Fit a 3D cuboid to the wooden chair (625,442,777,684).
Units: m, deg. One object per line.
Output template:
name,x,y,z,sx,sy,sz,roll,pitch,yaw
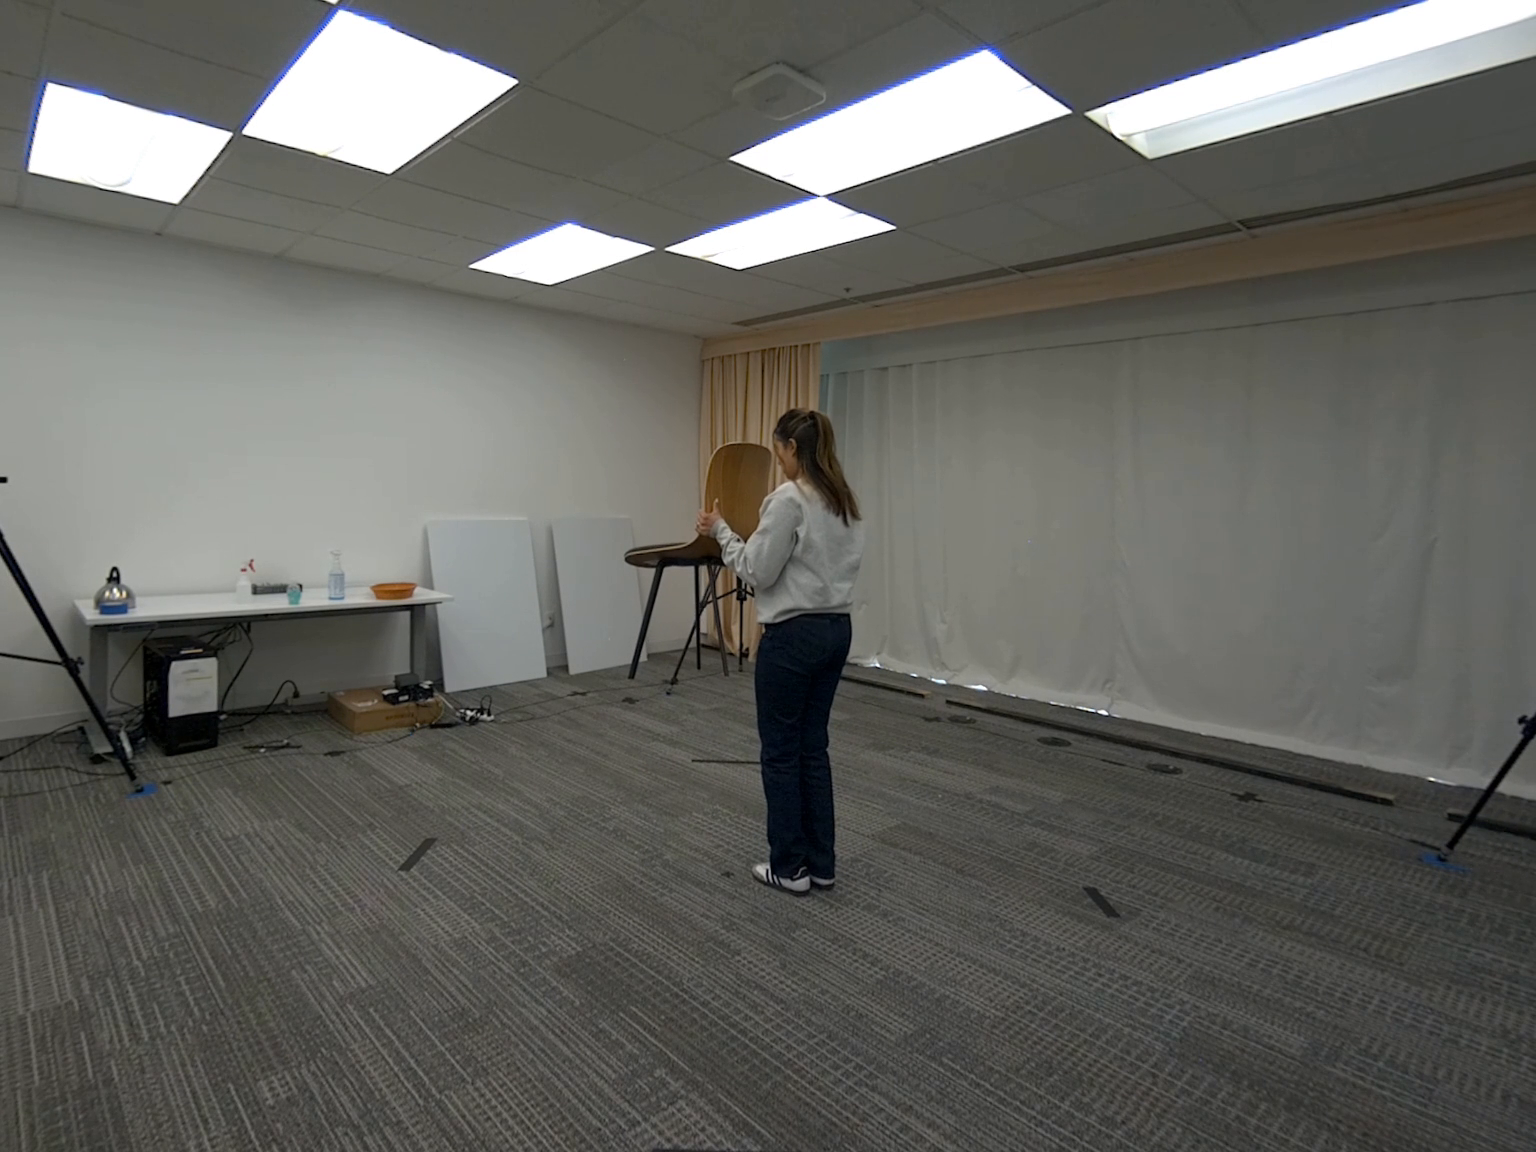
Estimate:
wooden chair,-0.265,-0.048,3.262,0.534,0.878,0.467,-2,-2,33
